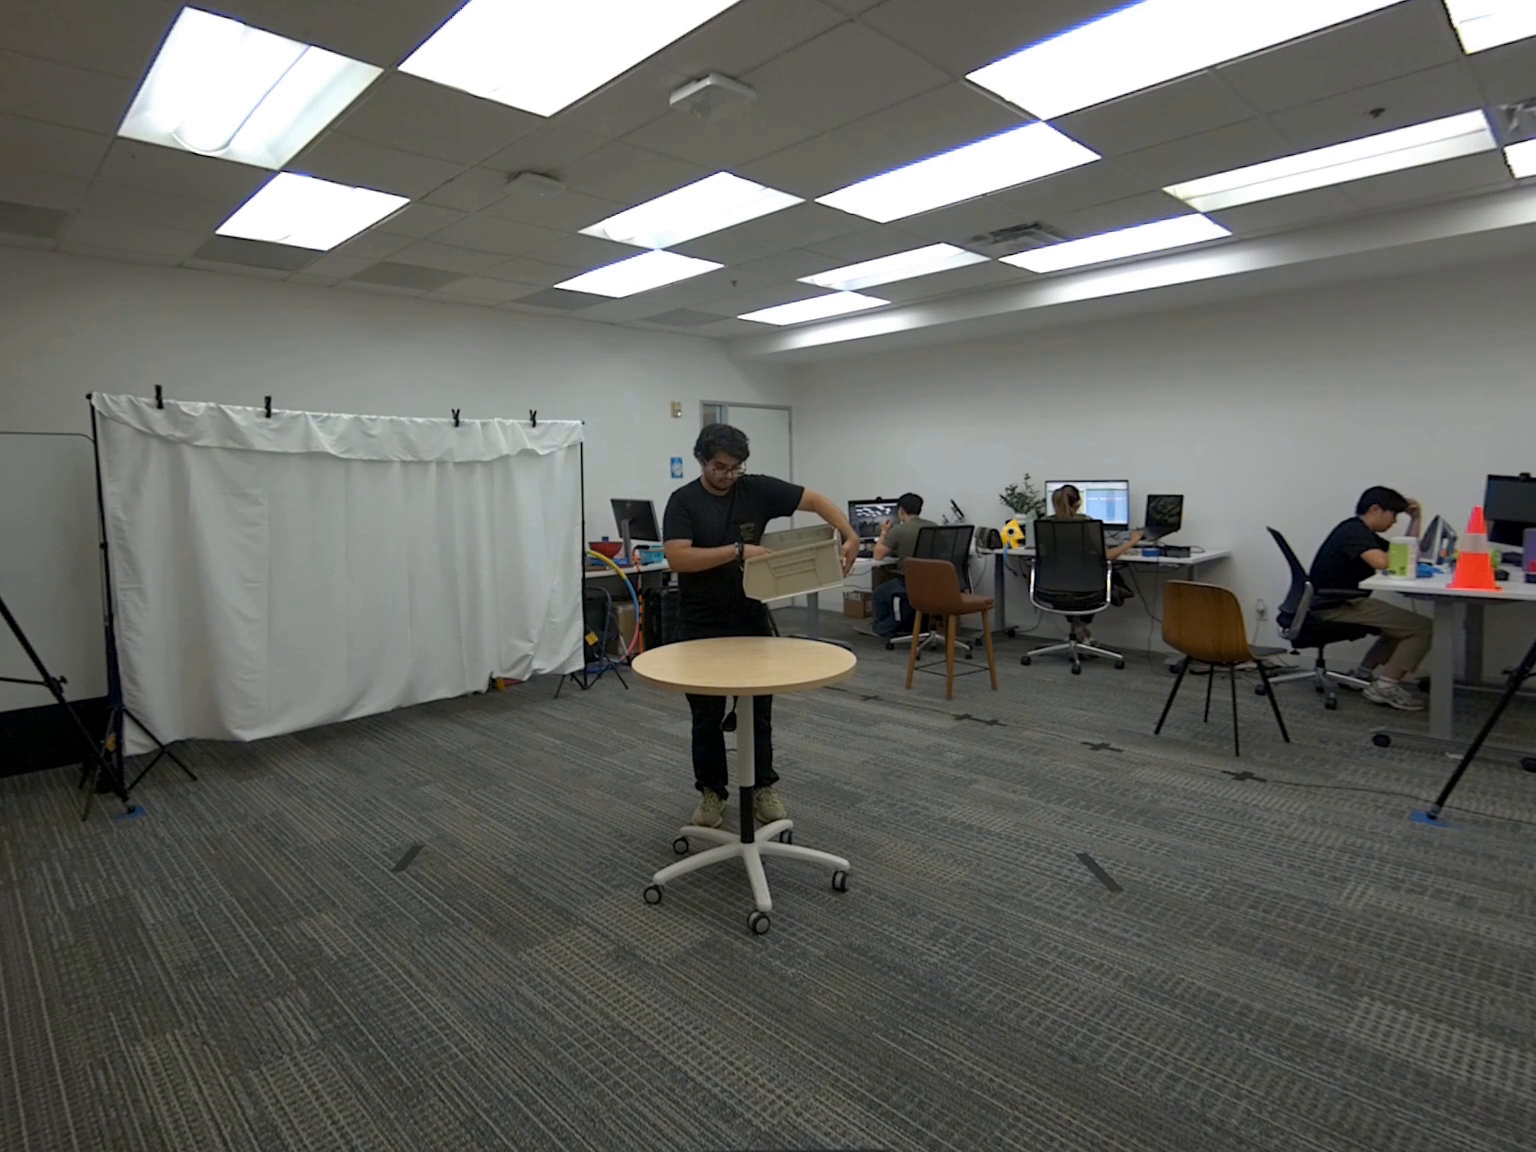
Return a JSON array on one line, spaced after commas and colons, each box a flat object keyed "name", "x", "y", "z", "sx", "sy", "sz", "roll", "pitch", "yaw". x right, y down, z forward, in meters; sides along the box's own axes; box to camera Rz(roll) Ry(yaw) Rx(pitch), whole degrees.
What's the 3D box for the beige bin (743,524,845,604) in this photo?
[{"name": "beige bin", "x": 0.095, "y": -0.062, "z": 3.362, "sx": 0.379, "sy": 0.187, "sz": 0.424, "roll": -8, "pitch": 11, "yaw": 6}]
